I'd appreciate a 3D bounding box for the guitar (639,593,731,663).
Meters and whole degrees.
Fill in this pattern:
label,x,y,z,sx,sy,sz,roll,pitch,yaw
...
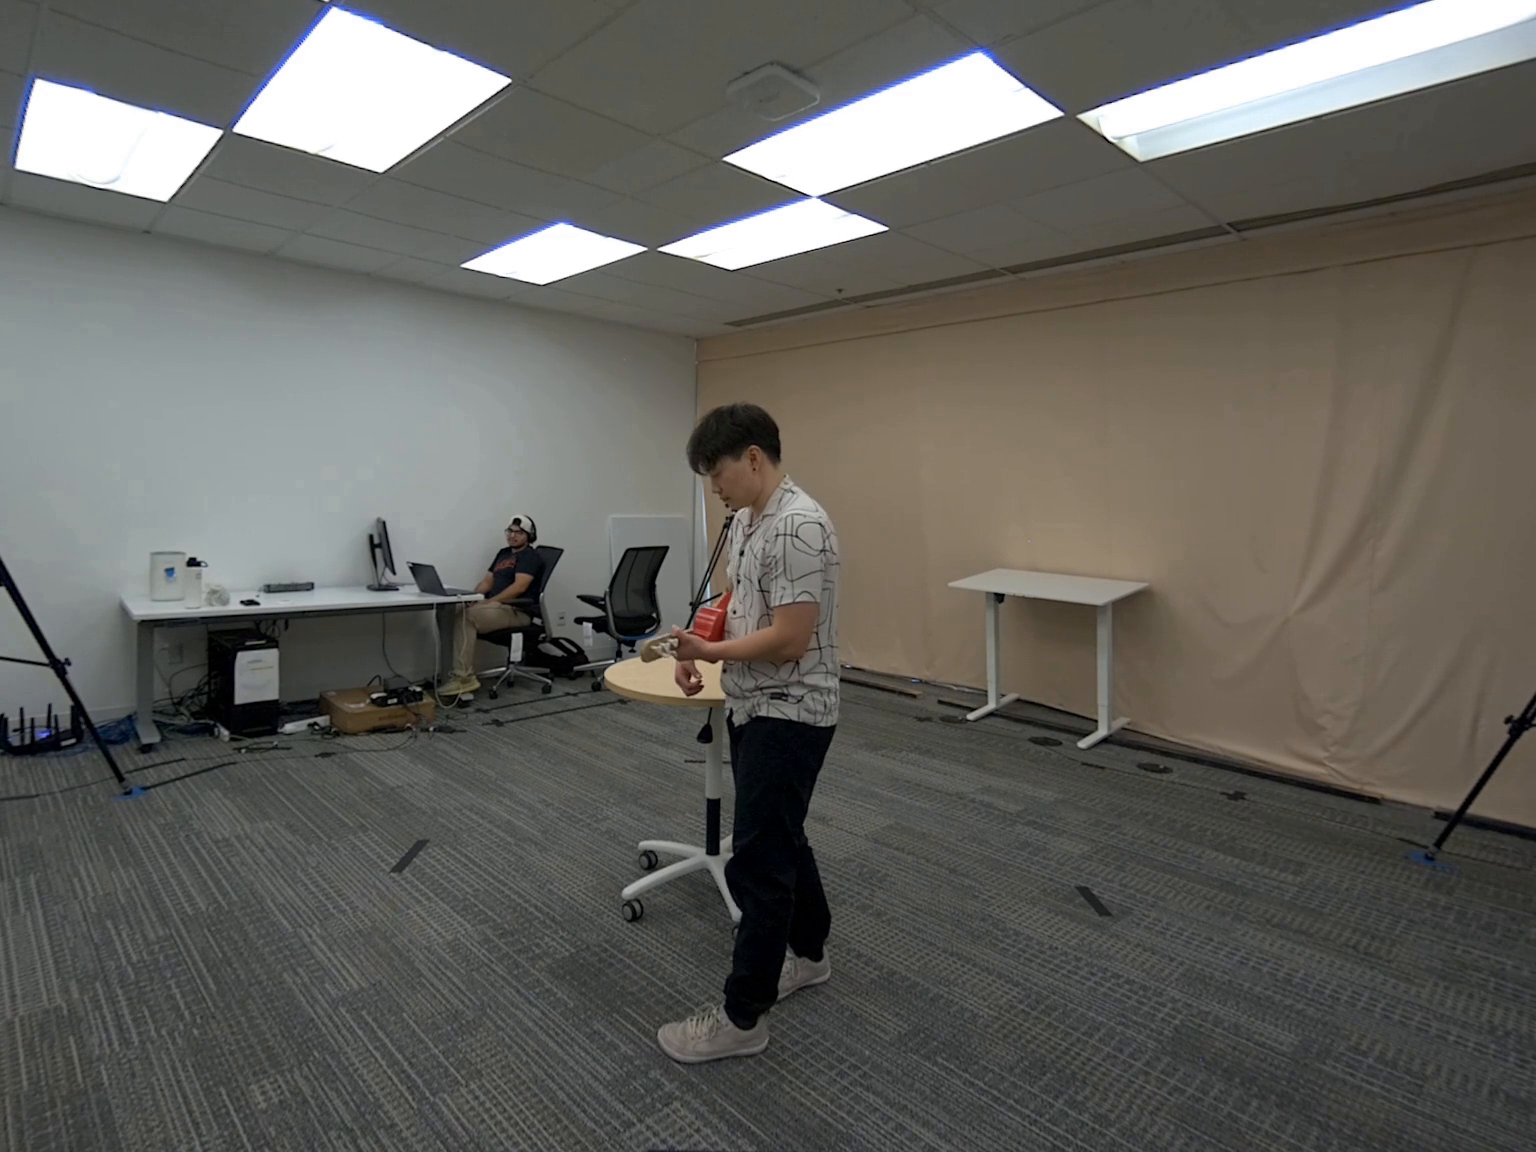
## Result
label,x,y,z,sx,sy,sz,roll,pitch,yaw
guitar,-0.187,0.187,2.238,0.072,0.191,0.493,15,22,24
